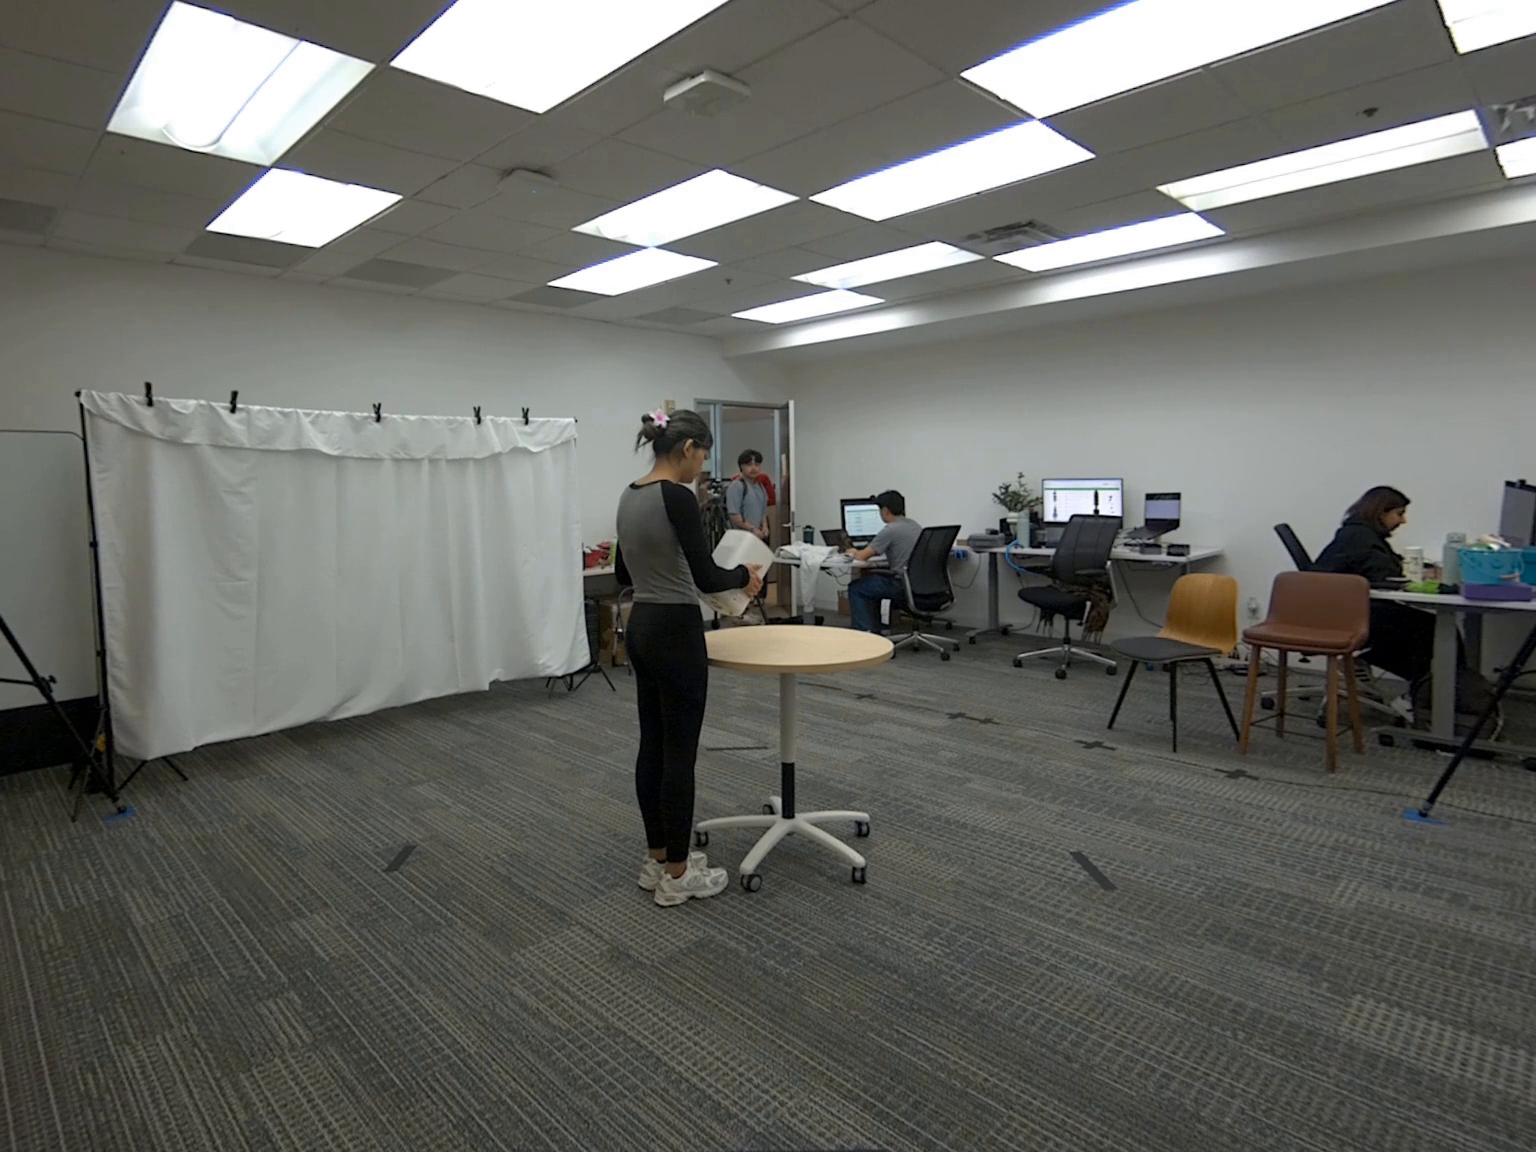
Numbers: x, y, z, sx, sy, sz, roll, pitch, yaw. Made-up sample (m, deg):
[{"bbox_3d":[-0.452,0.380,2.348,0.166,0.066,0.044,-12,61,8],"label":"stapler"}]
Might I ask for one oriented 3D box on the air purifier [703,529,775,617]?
[{"bbox_3d":[-0.123,-0.008,3.030,0.177,0.267,0.165,6,-32,50],"label":"air purifier"}]
